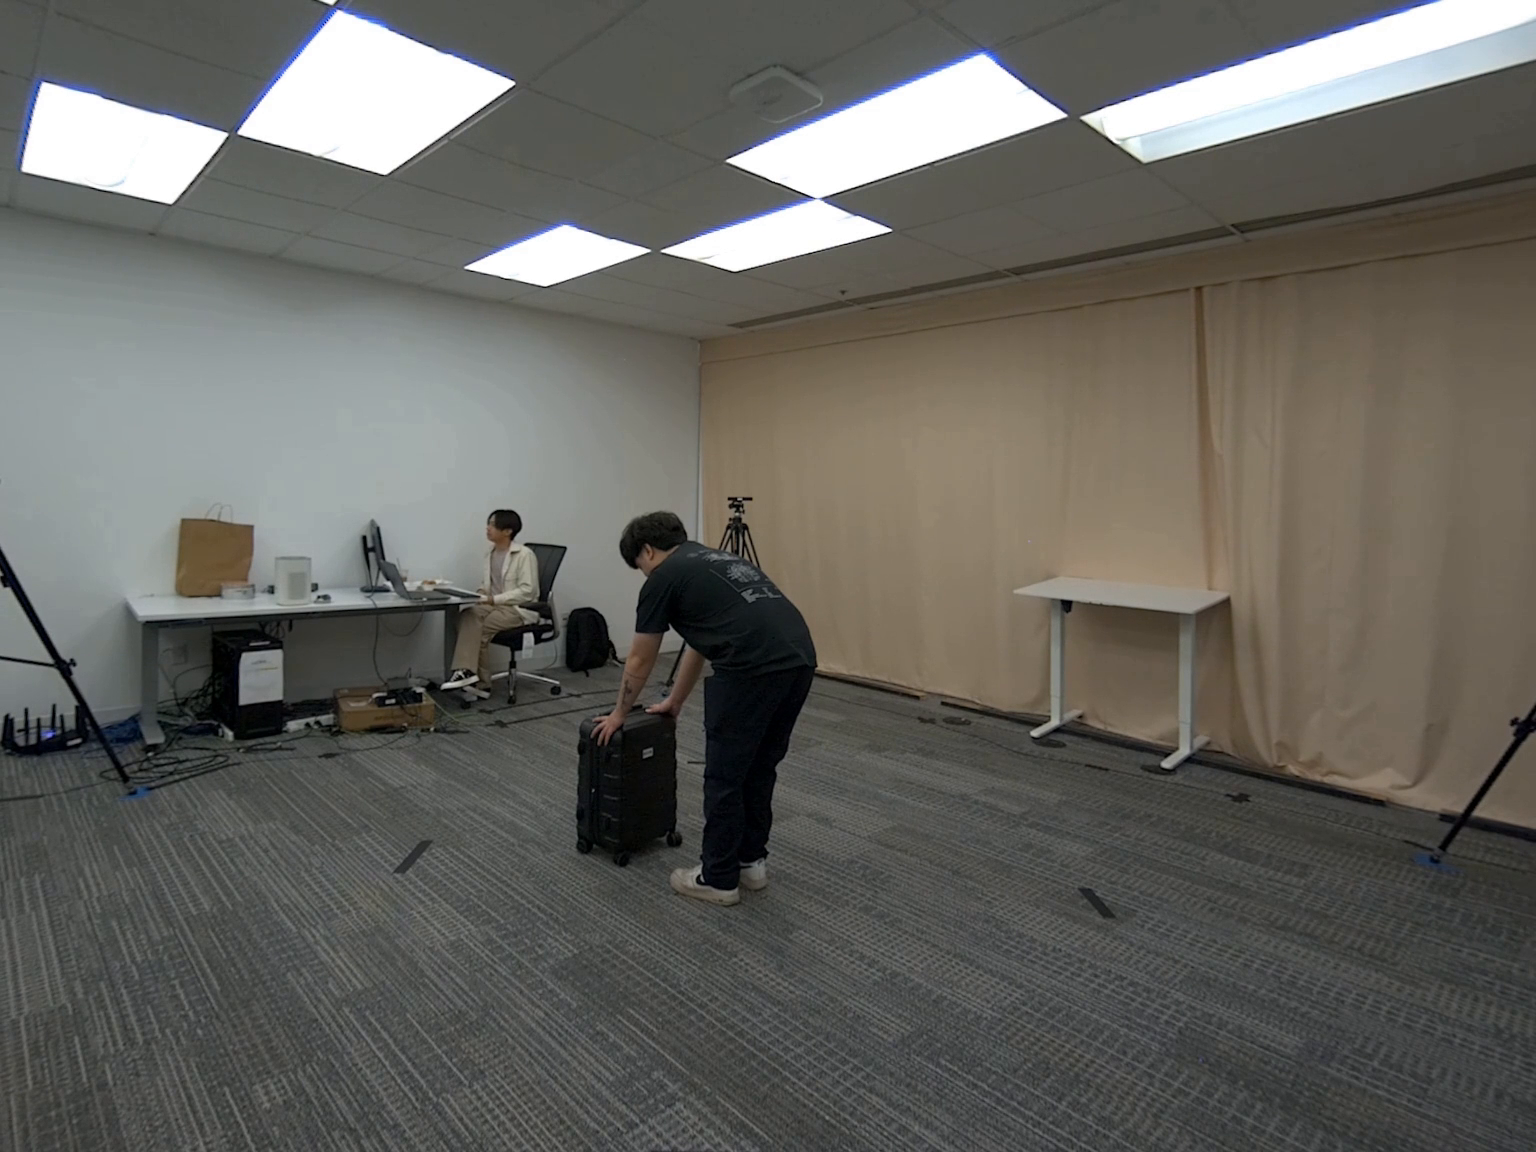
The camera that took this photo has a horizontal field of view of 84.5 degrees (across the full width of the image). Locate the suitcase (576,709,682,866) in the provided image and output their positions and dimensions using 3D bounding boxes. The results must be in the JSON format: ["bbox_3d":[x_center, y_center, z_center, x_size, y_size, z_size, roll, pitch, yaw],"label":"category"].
[{"bbox_3d":[-0.562,0.806,3.333,0.254,0.548,0.367,3,3,38],"label":"suitcase"}]
